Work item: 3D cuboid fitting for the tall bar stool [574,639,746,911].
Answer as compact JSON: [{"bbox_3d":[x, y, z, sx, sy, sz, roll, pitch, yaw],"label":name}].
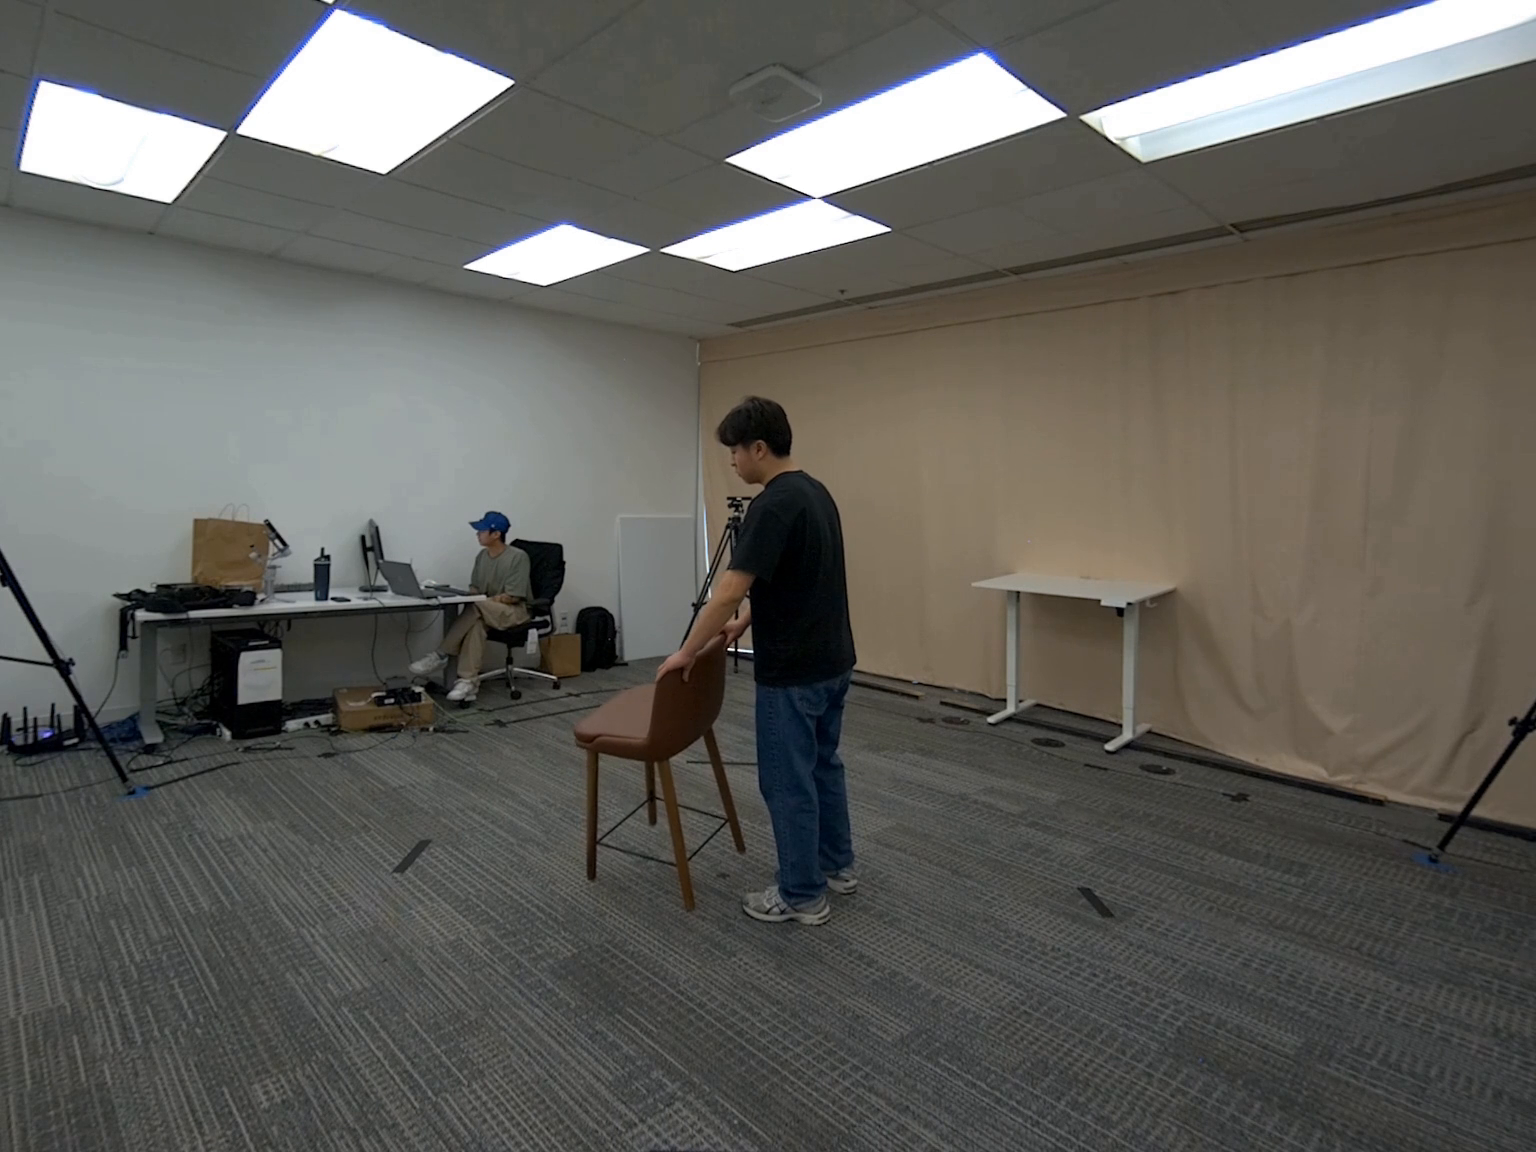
[{"bbox_3d":[-0.388,0.643,2.989,0.478,0.880,0.451,7,18,31],"label":"tall bar stool"}]
